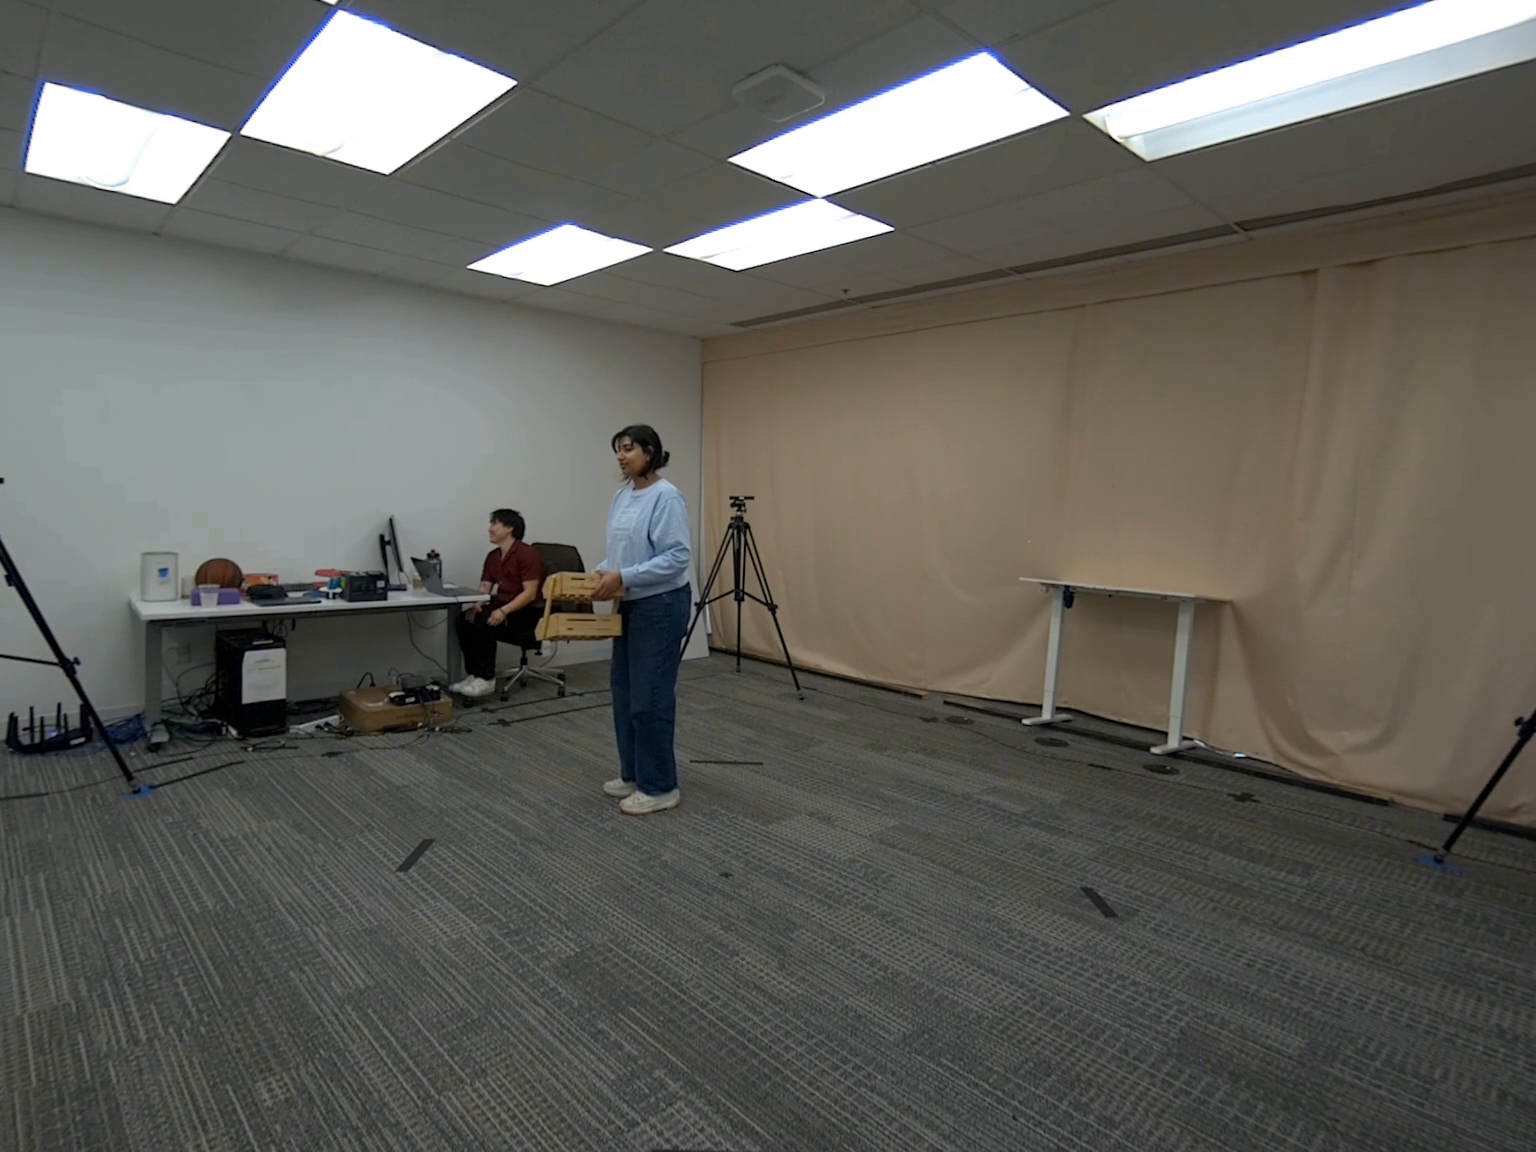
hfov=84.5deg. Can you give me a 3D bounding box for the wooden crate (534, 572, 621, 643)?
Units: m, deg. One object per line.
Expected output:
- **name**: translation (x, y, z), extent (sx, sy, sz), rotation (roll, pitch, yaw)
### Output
- **wooden crate**: translation (-0.848, 0.136, 3.695), extent (0.317, 0.275, 0.307), rotation (4, -10, -36)
